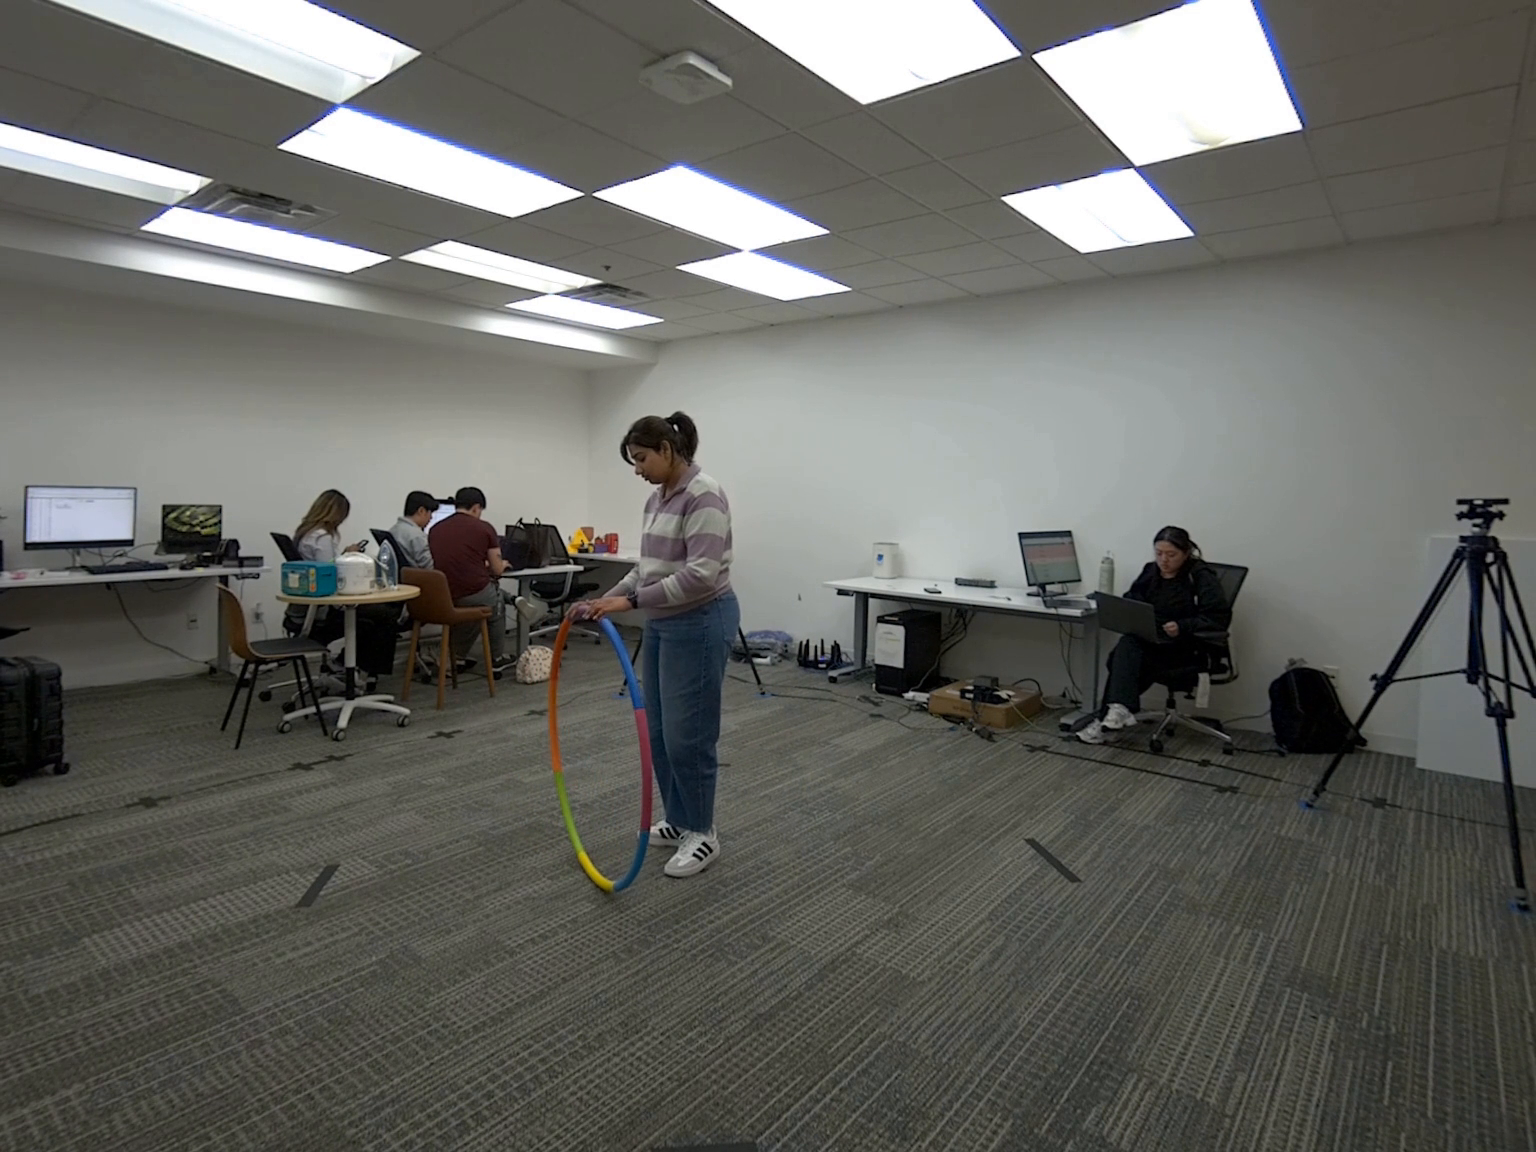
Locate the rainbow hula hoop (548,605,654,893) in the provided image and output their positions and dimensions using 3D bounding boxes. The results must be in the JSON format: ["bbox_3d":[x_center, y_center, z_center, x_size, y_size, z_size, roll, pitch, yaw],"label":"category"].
[{"bbox_3d":[-0.623,0.593,2.992,0.050,0.982,1.015,-1,4,-30],"label":"rainbow hula hoop"}]
